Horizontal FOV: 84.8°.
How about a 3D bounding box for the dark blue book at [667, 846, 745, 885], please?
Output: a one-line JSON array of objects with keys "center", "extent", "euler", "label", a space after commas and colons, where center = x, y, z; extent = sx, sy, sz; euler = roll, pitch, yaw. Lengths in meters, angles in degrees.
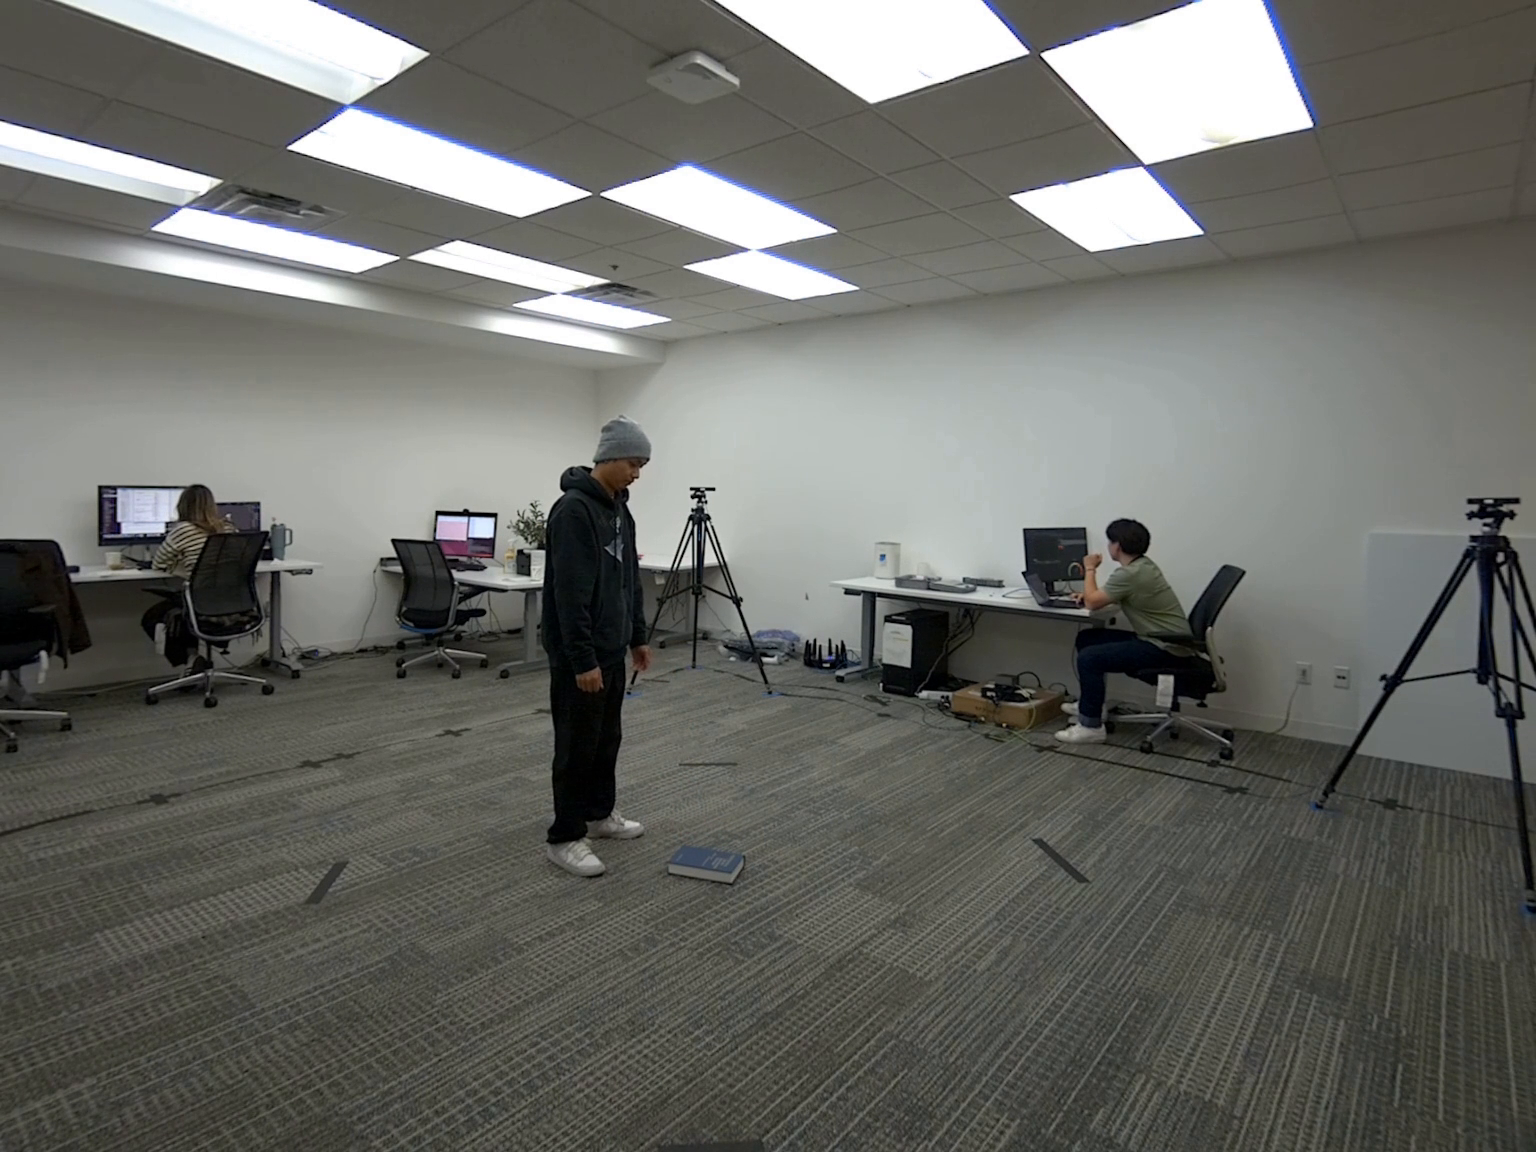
[{"center": [-0.233, 1.041, 3.089], "extent": [0.250, 0.045, 0.161], "euler": [3, 6, 17], "label": "dark blue book"}]
